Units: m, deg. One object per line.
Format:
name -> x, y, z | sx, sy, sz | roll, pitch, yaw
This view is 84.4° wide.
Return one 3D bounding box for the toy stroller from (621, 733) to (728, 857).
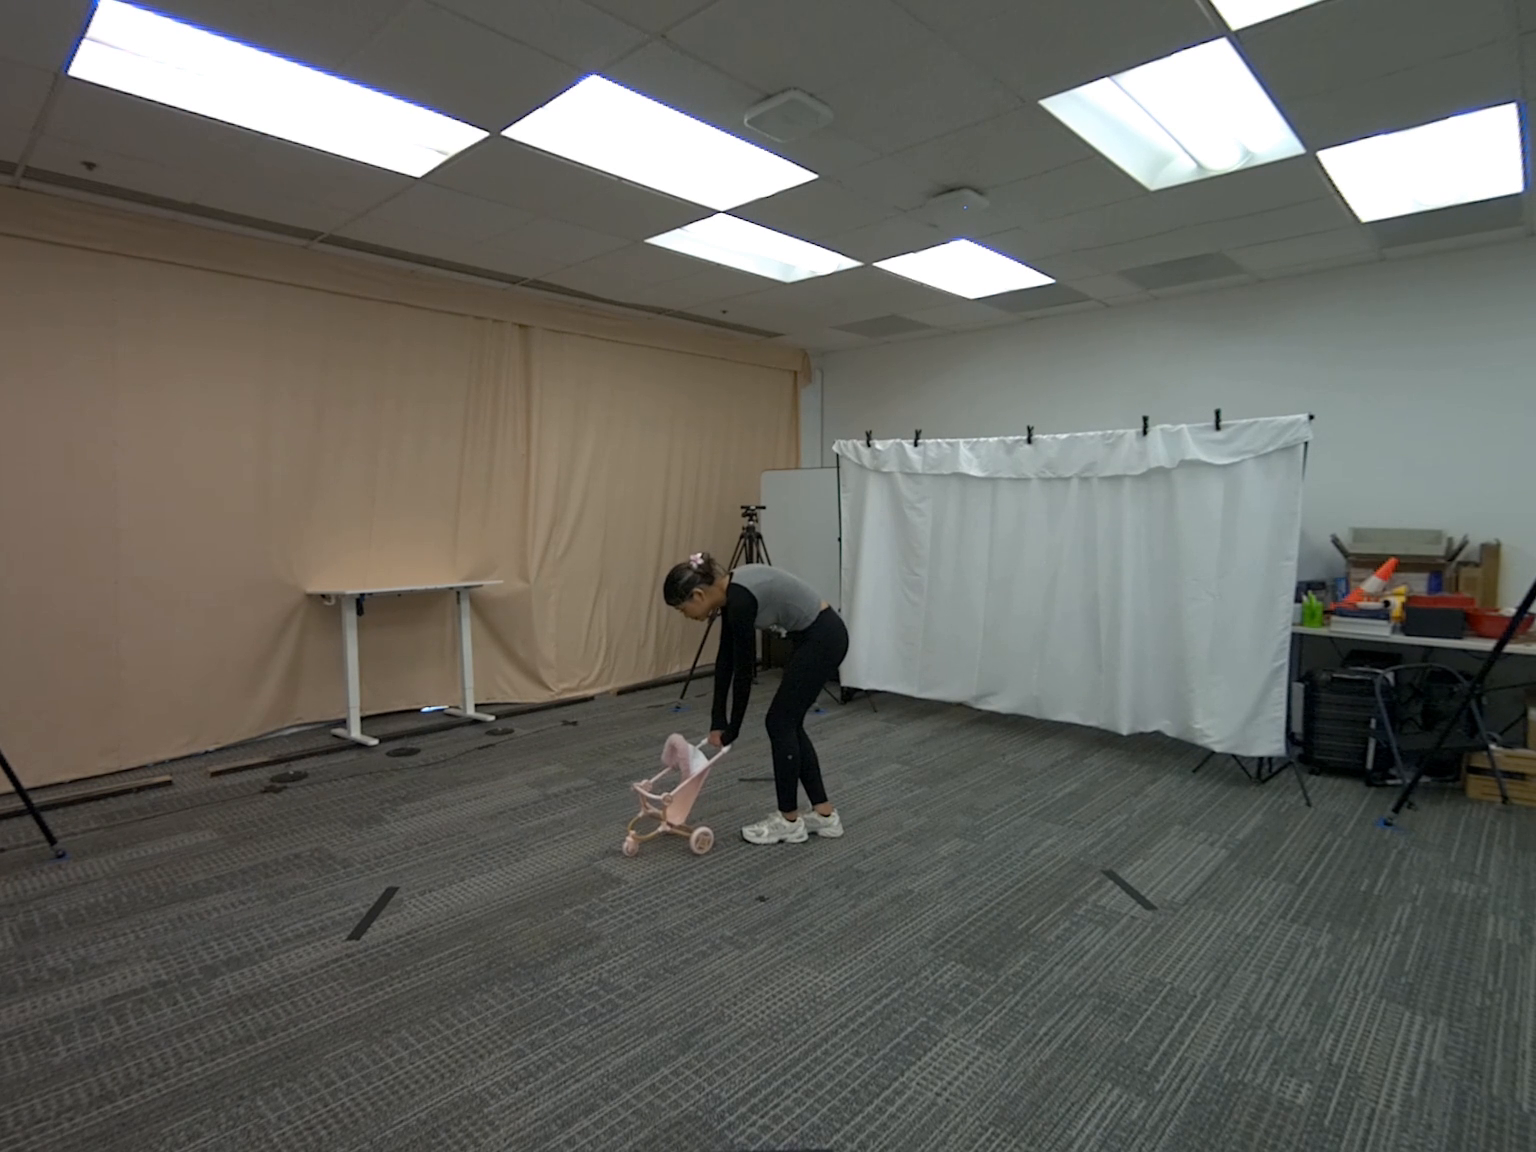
toy stroller -> -0.384, 0.884, 3.436 | 0.332, 0.536, 0.289 | 17, -5, -27
